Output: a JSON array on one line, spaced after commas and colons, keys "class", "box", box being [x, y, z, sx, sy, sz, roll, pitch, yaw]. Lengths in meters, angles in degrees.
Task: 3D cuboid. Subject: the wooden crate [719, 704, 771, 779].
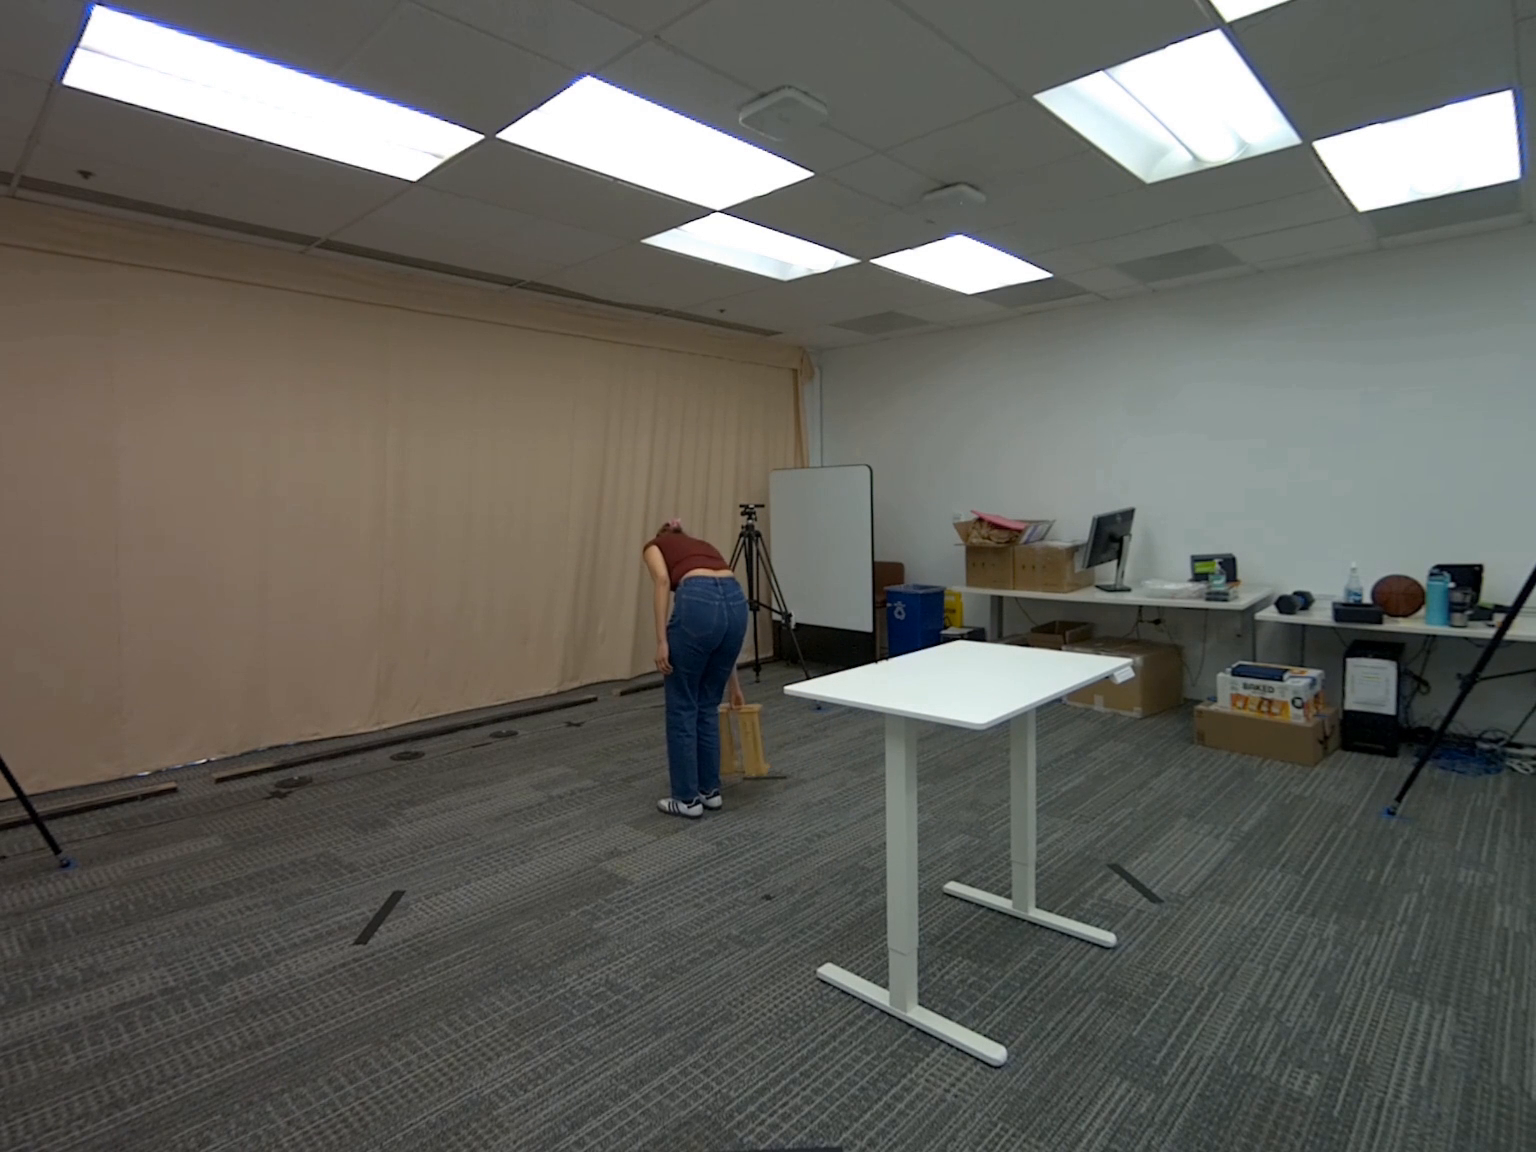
[{"class": "wooden crate", "box": [-0.124, 0.783, 4.115, 0.277, 0.324, 0.297, -8, 0, 15]}]
